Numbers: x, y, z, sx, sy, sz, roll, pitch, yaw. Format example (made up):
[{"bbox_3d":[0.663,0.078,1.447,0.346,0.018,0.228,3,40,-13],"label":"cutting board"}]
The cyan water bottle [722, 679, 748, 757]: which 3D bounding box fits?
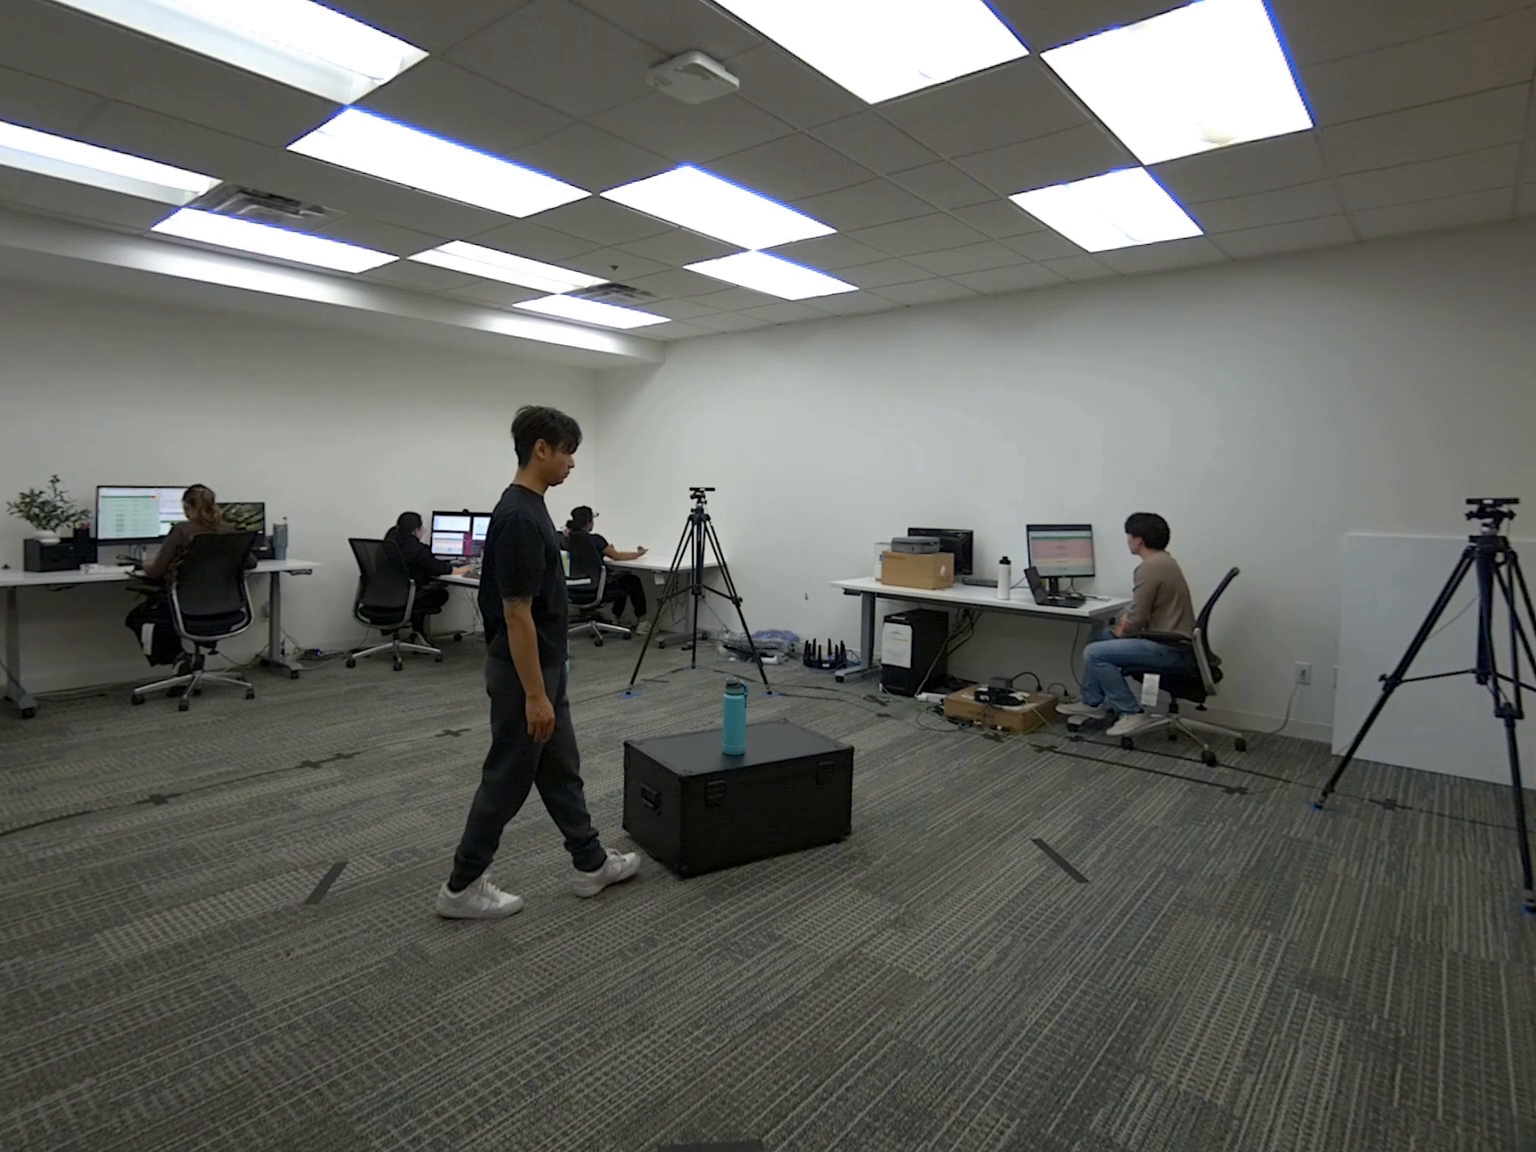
[{"bbox_3d":[-0.139,0.537,3.292,0.092,0.282,0.093,2,3,-2],"label":"cyan water bottle"}]
